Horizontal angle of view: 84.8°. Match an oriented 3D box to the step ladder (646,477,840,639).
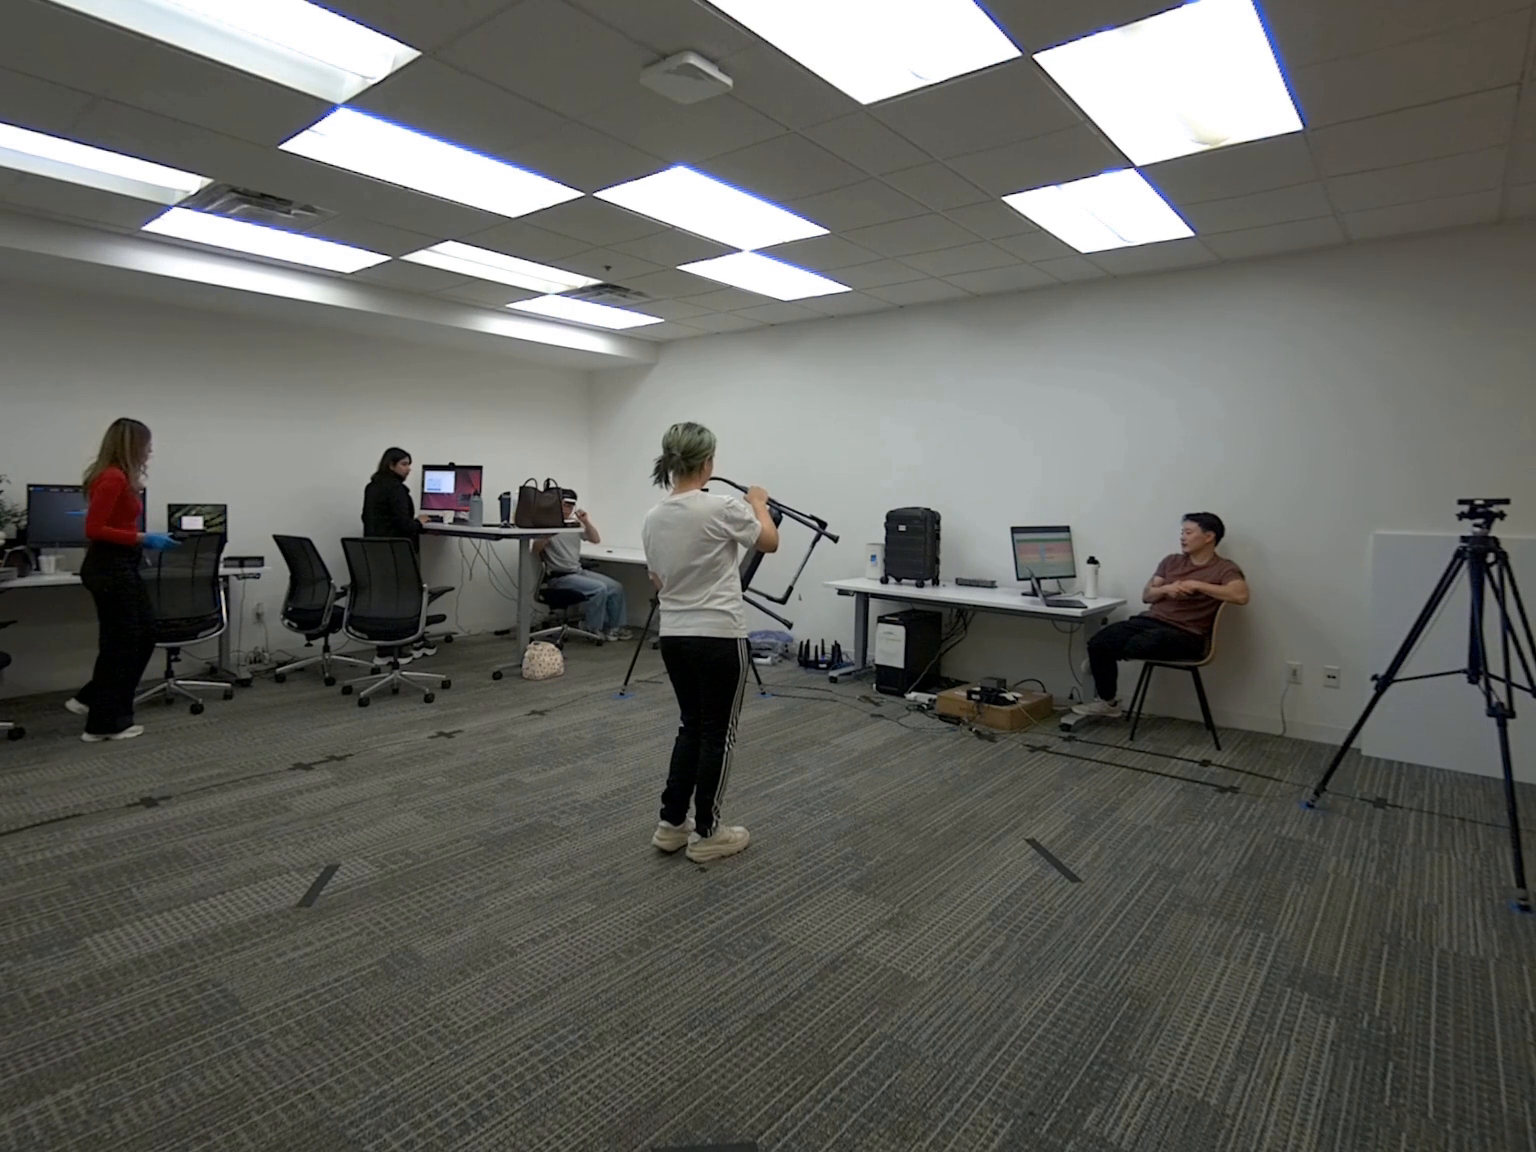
[{"bbox_3d":[-0.096,-0.140,3.529,0.602,0.428,0.353,25,11,-5],"label":"step ladder"}]
